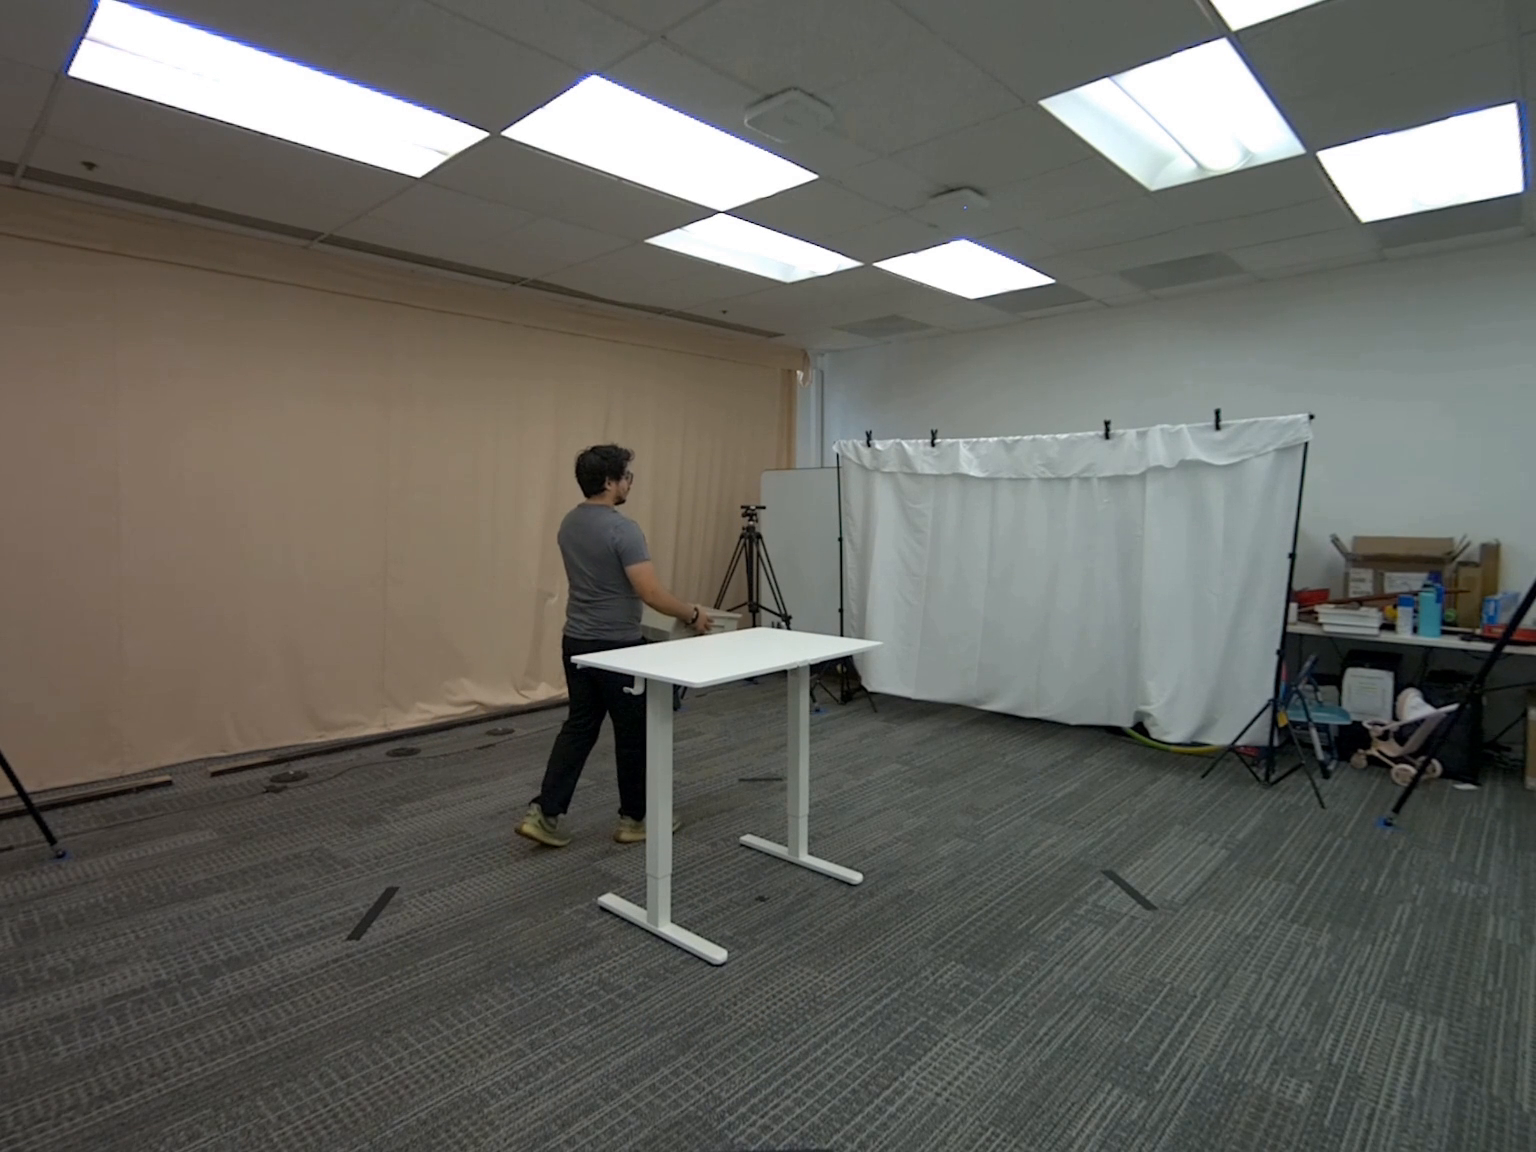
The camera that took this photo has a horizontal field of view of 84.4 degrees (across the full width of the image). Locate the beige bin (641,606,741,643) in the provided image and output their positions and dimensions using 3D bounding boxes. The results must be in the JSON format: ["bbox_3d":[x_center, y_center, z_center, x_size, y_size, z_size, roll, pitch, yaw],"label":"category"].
[{"bbox_3d":[-0.395,0.216,3.745,0.364,0.189,0.436,9,-3,-41],"label":"beige bin"}]
